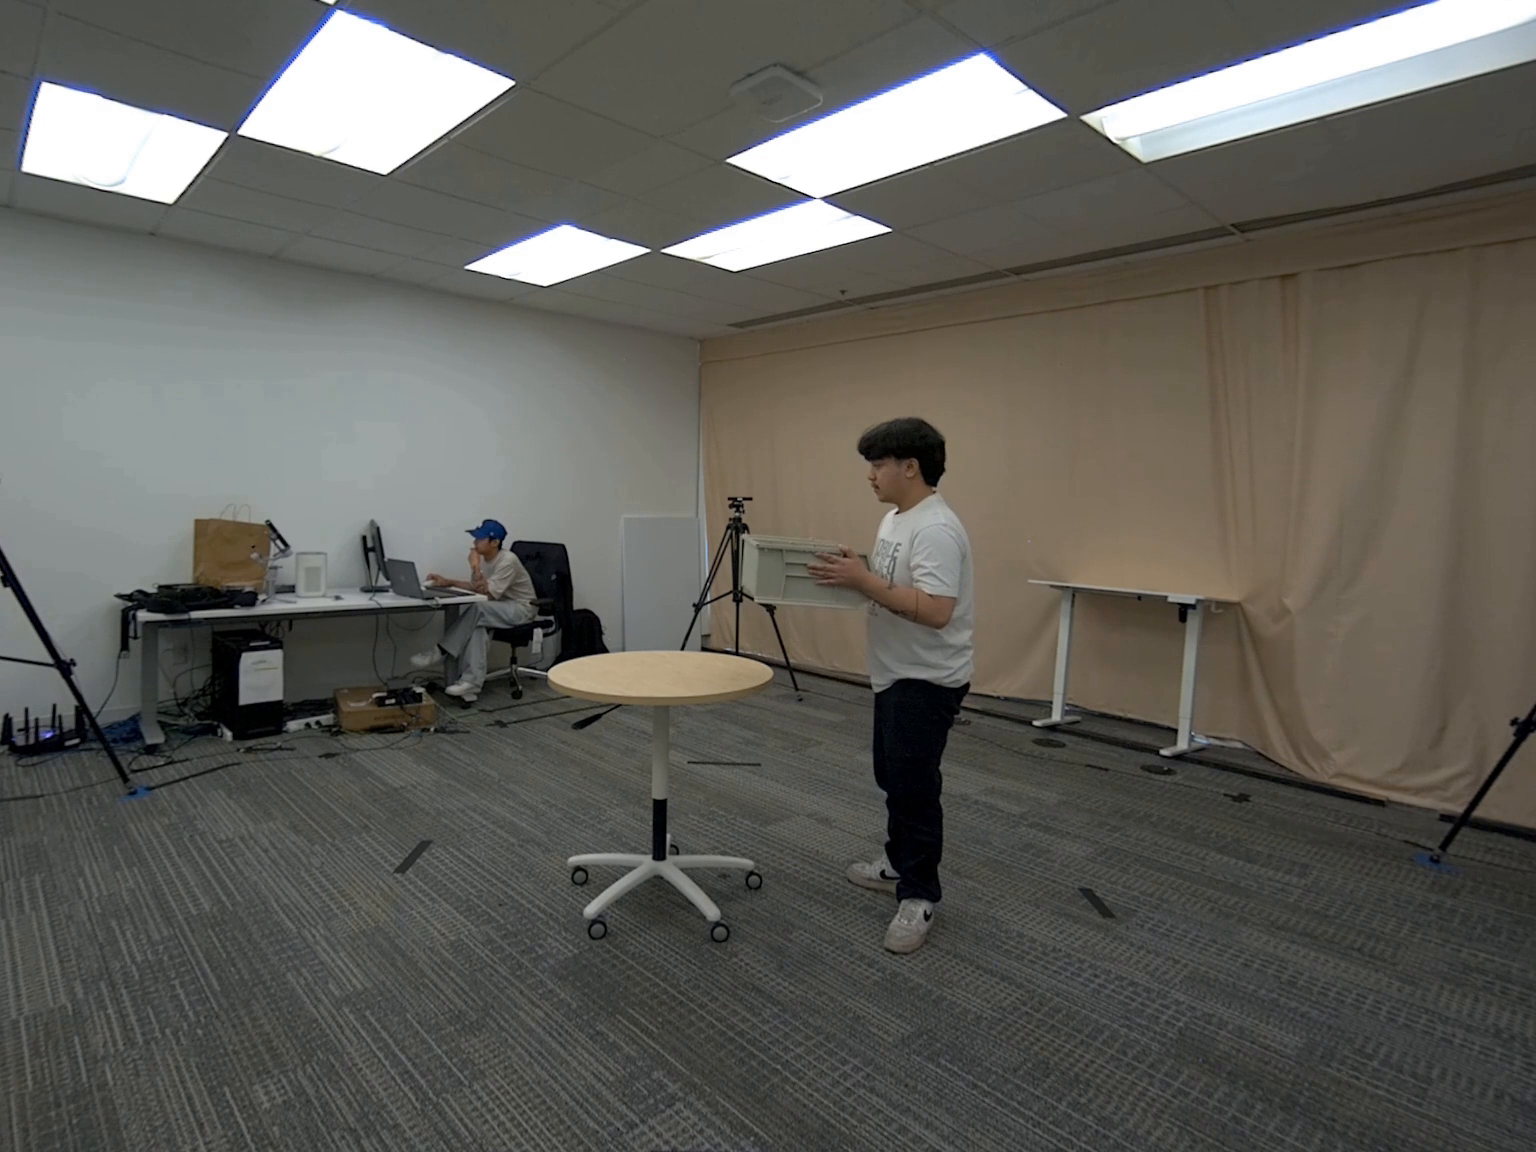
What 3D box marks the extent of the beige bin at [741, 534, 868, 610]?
[{"bbox_3d":[0.111,-0.012,2.725,0.375,0.188,0.426,3,6,-8],"label":"beige bin"}]
